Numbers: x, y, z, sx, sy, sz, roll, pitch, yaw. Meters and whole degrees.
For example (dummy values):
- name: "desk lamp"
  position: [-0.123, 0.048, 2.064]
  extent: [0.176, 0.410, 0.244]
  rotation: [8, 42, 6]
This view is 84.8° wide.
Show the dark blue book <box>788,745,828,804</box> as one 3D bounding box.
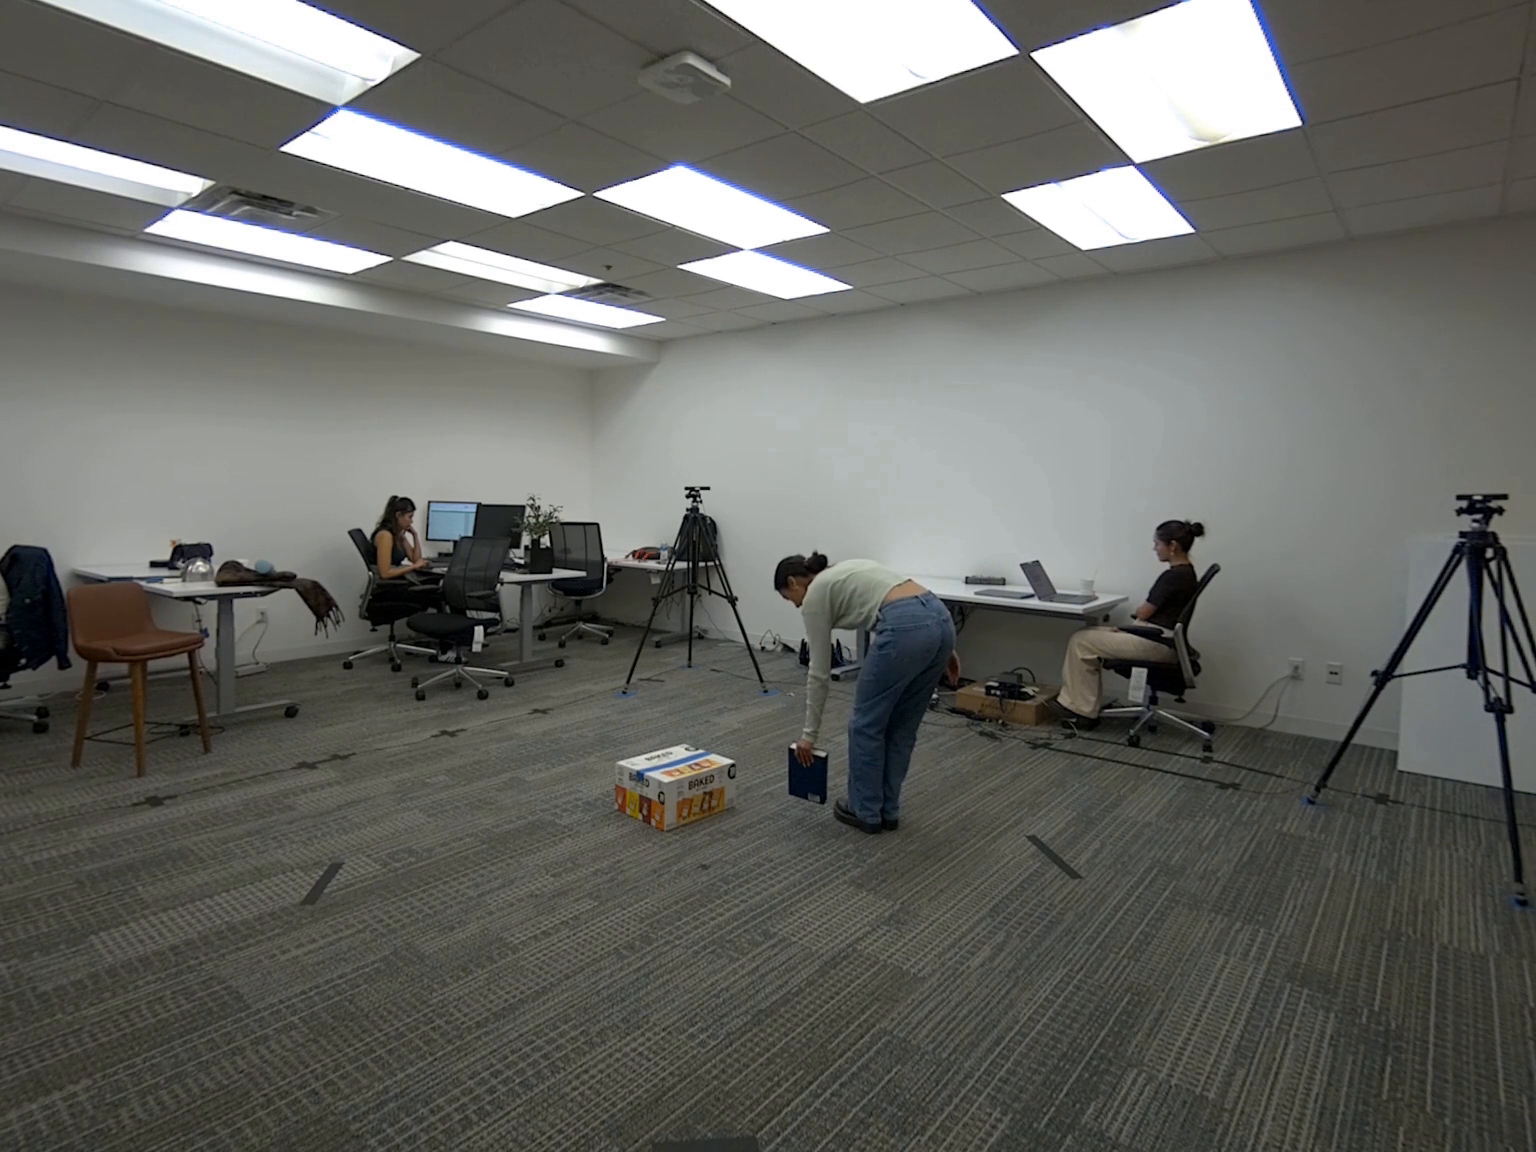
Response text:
- name: "dark blue book"
  position: [0.160, 0.829, 3.582]
  extent: [0.167, 0.240, 0.045]
  rotation: [10, 24, 22]
